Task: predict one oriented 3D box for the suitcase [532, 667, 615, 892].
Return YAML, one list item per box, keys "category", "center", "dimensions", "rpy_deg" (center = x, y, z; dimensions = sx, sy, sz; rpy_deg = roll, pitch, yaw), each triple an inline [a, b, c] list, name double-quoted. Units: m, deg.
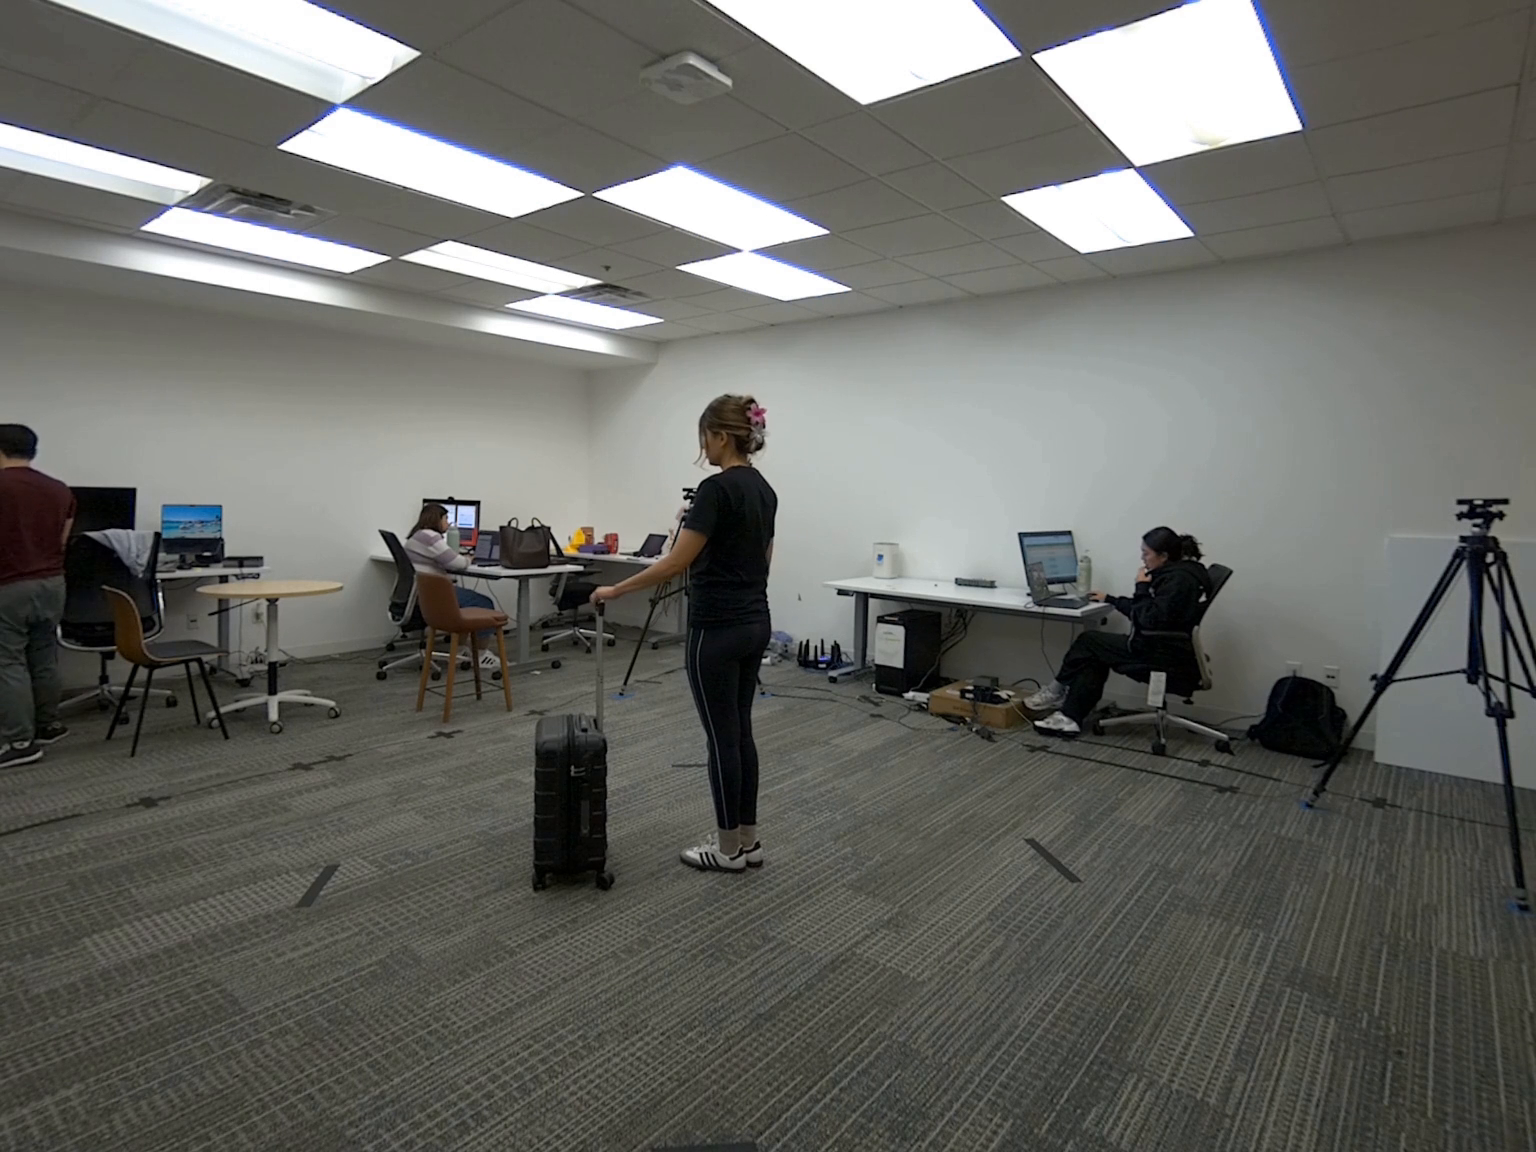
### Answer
- category: "suitcase"
  center: [-0.728, 0.590, 3.060]
  dimensions: [0.254, 0.976, 0.389]
  rpy_deg: [-3, 3, -11]
